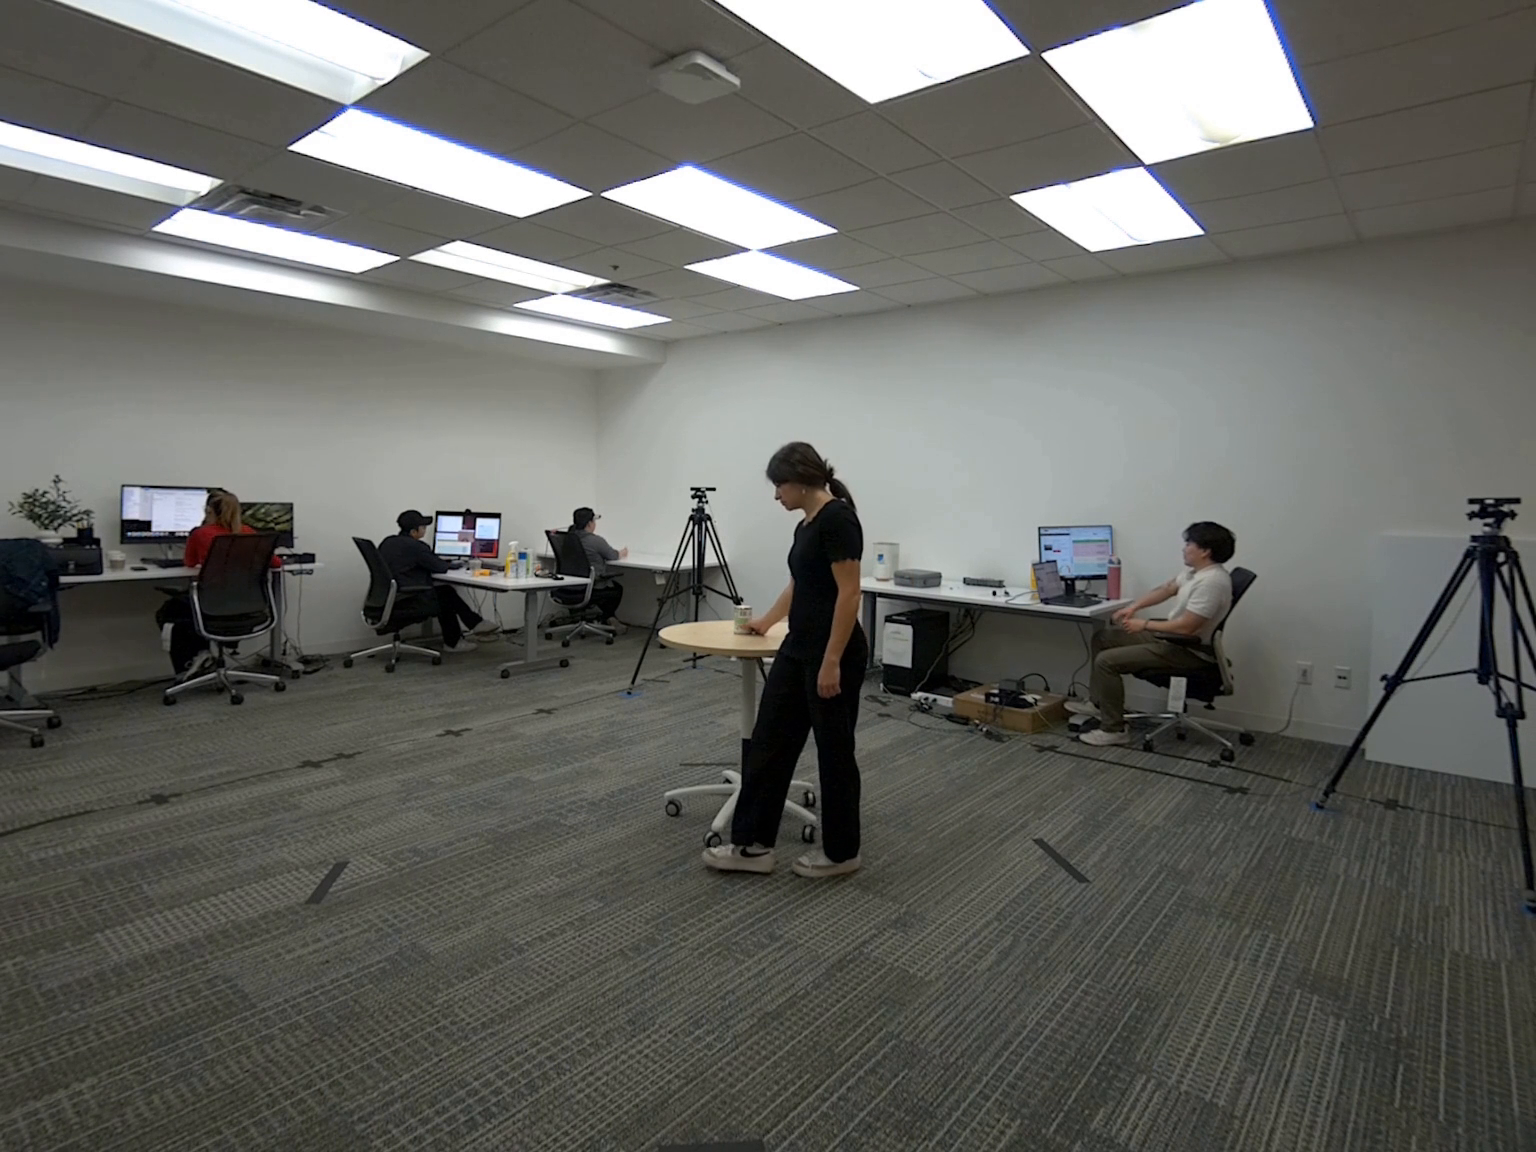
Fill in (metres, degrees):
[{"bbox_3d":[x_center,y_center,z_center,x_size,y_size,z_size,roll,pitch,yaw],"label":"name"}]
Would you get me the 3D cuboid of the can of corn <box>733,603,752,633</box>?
[{"bbox_3d":[-0.119,0.180,3.582,0.074,0.111,0.074,5,4,-2],"label":"can of corn"}]
